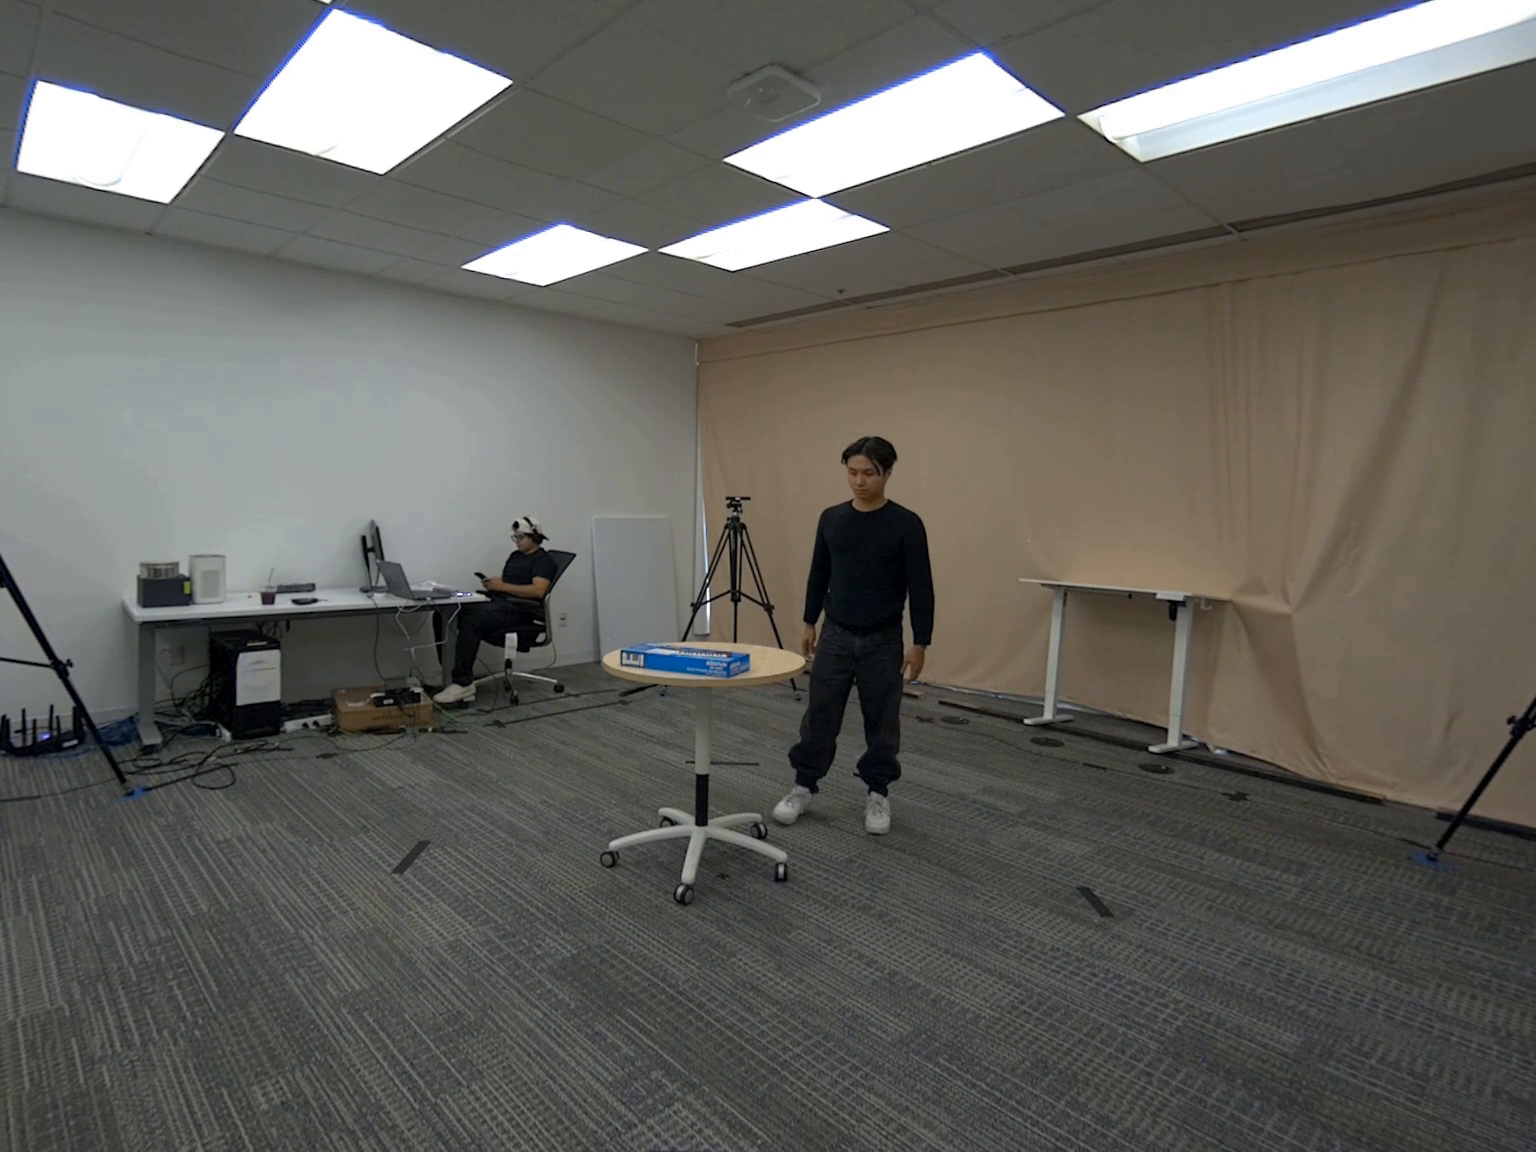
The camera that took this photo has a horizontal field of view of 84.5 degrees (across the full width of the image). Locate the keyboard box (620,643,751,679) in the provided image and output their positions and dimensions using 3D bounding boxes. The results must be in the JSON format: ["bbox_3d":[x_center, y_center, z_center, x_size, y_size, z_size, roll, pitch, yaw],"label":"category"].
[{"bbox_3d":[-0.307,0.302,3.005,0.445,0.059,0.173,3,5,26],"label":"keyboard box"}]
